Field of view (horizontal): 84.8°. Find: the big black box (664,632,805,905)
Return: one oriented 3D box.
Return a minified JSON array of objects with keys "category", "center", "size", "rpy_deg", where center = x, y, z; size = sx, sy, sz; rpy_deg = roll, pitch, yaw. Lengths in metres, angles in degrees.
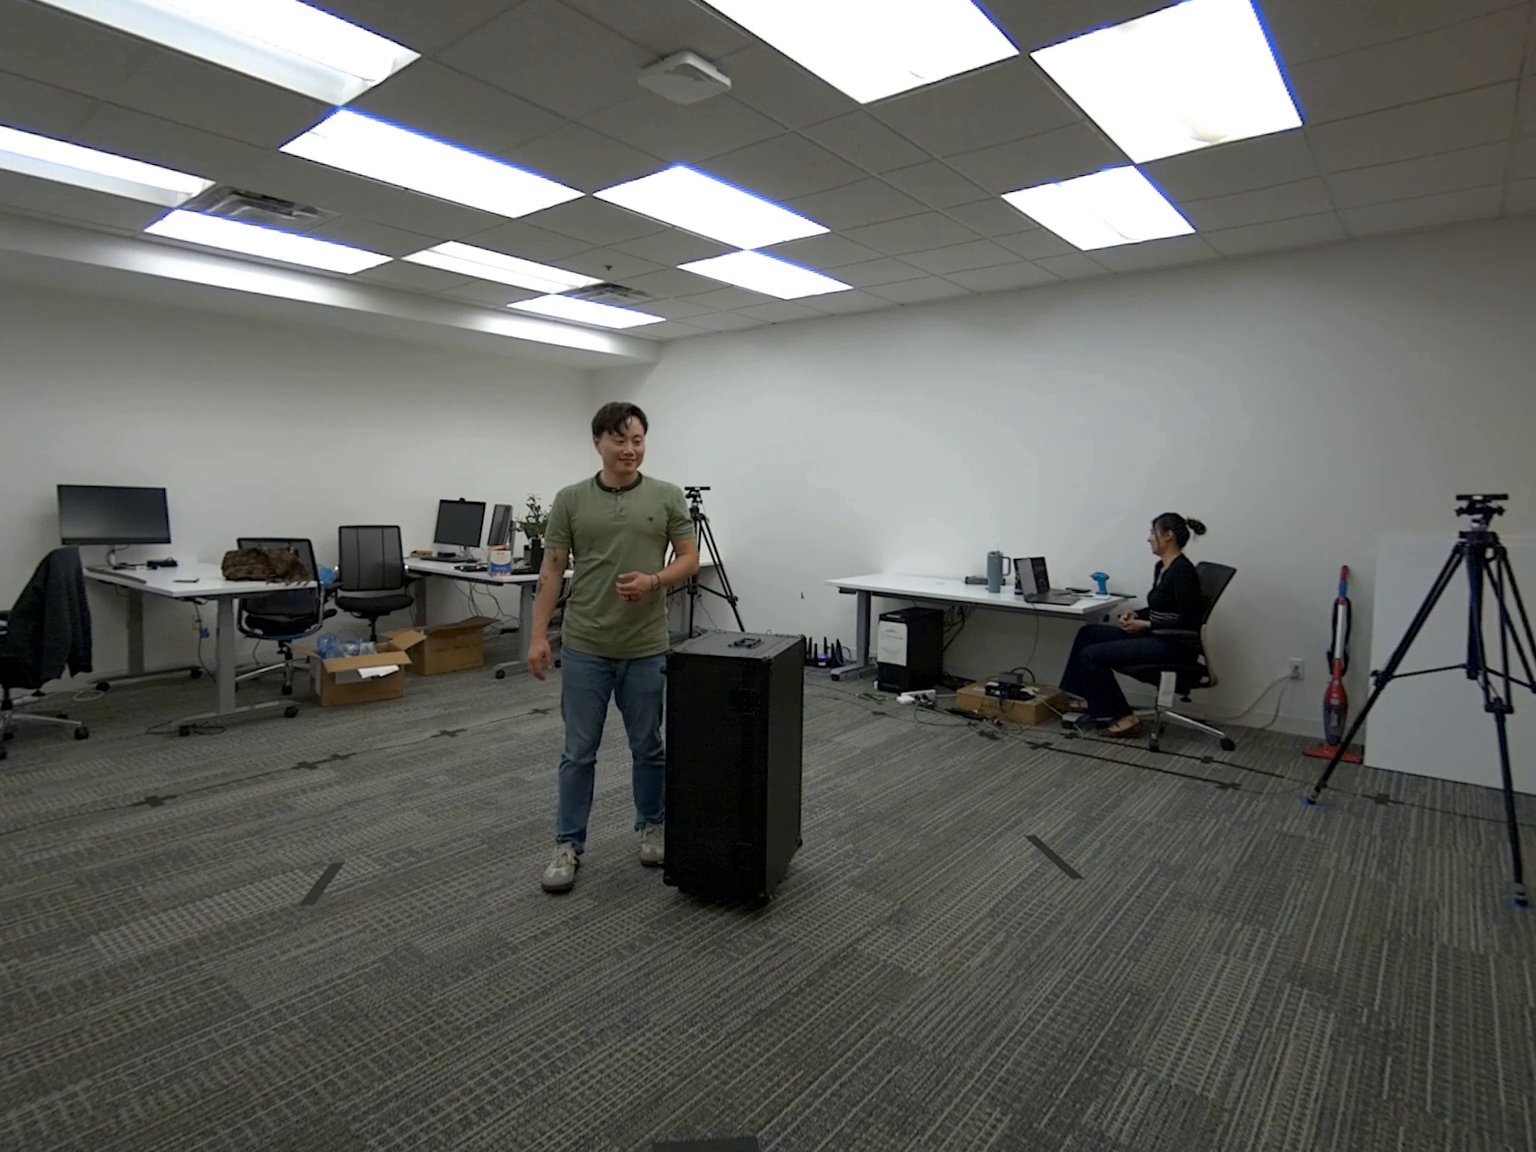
[{"category":"big black box","center":[-0.124,0.651,2.964],"size":[0.404,0.859,0.513],"rpy_deg":[1,3,17]}]
